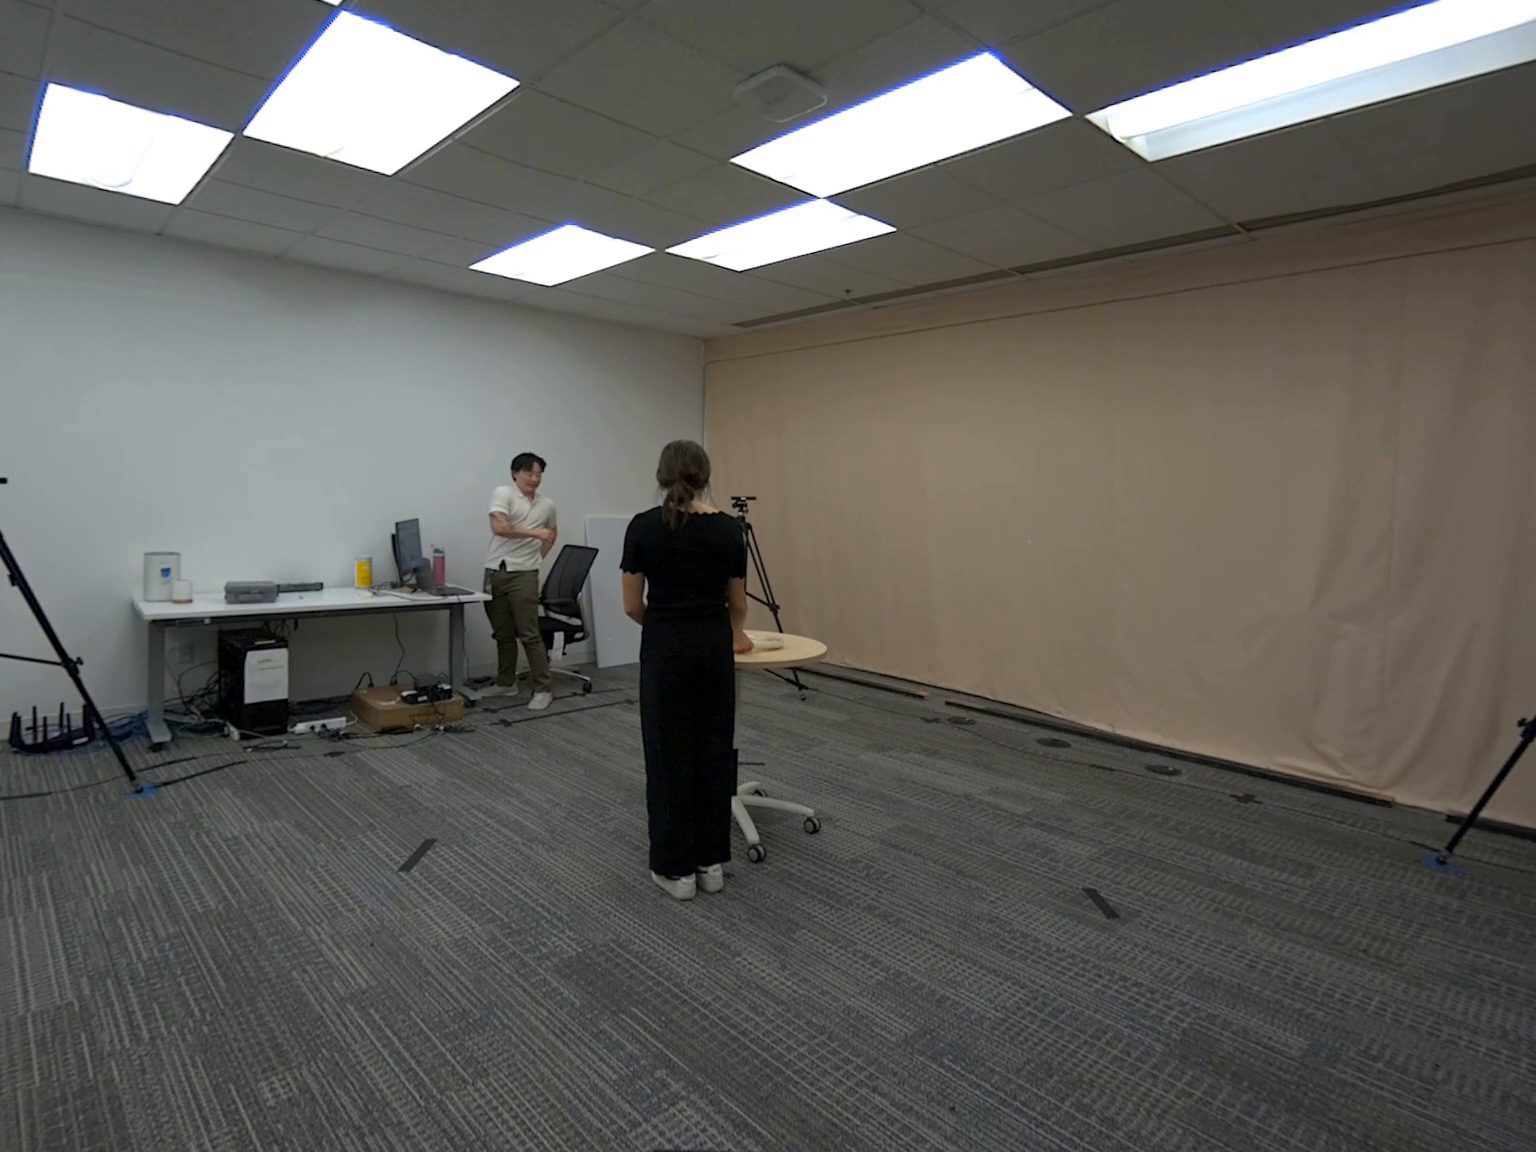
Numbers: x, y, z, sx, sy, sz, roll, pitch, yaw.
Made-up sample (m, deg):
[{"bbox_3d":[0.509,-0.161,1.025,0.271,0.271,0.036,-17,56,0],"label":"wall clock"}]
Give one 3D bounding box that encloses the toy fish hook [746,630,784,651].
[{"bbox_3d":[-0.171,0.279,3.404,0.495,0.048,0.229,1,-1,-36],"label":"toy fish hook"}]
